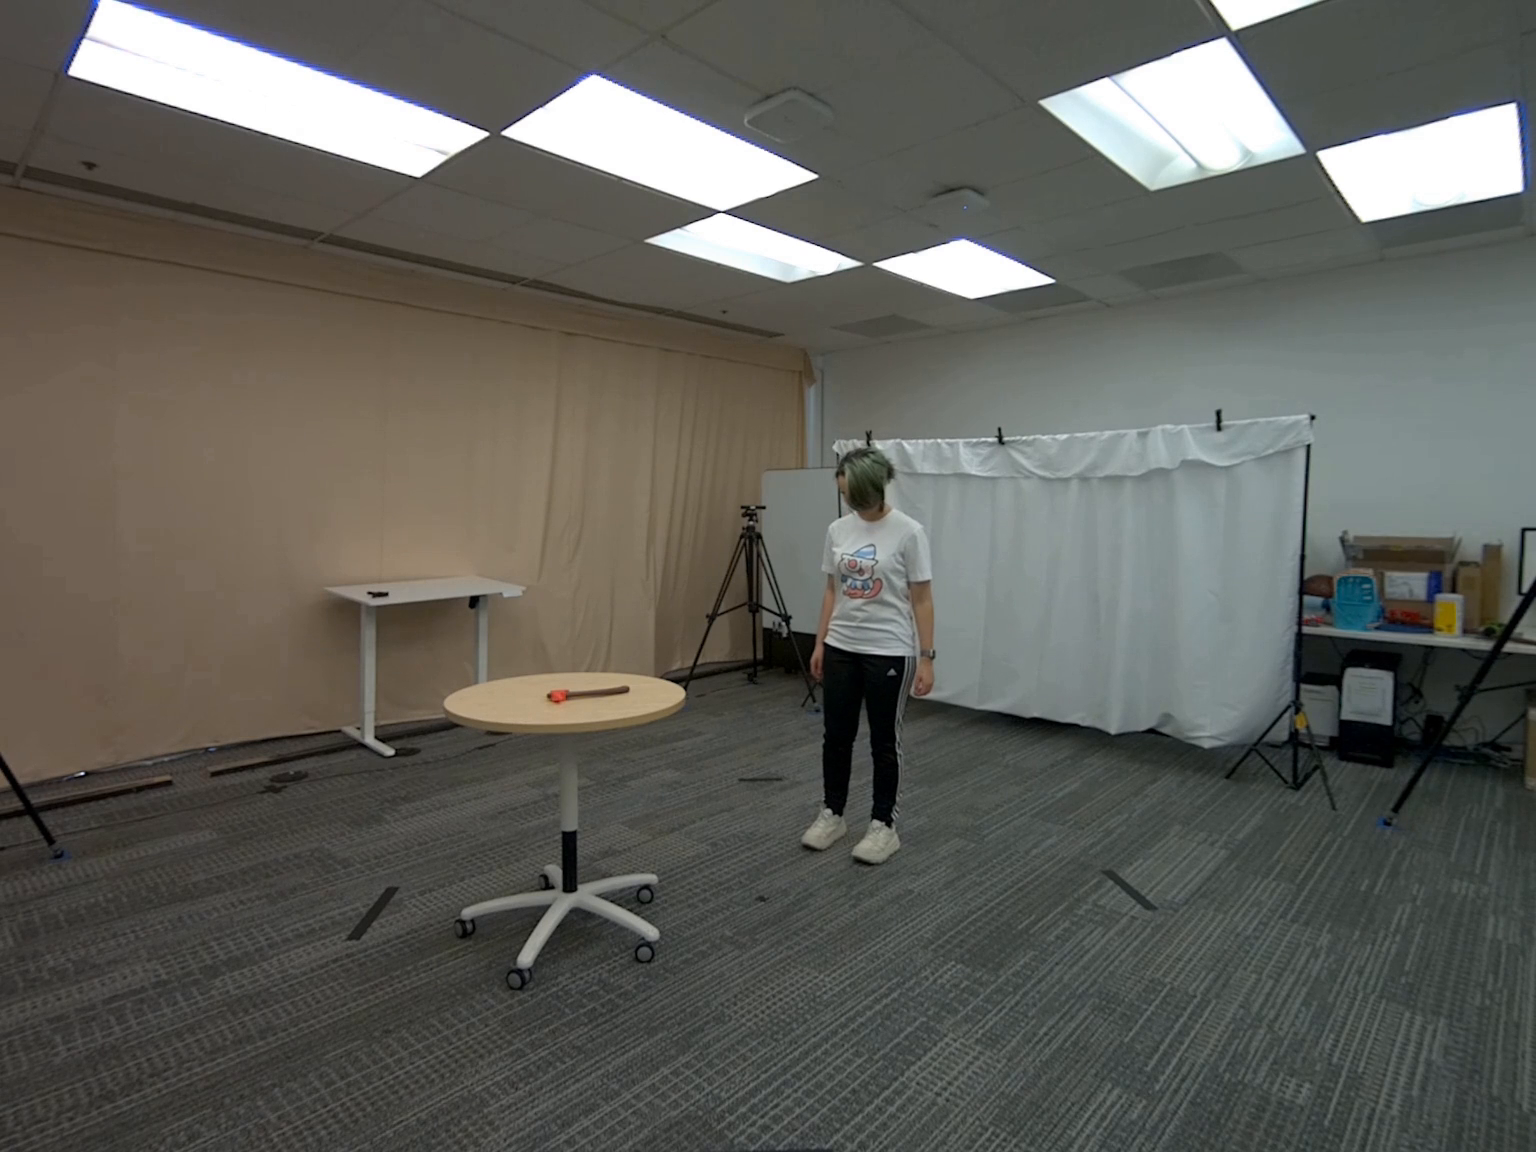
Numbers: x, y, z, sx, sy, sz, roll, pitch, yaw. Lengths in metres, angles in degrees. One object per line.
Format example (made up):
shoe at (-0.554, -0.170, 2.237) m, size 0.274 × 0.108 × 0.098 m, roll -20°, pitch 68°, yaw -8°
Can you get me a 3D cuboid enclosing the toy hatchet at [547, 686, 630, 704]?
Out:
toy hatchet at (-0.581, 0.372, 2.718) m, size 0.262 × 0.029 × 0.135 m, roll -1°, pitch -1°, yaw -41°
